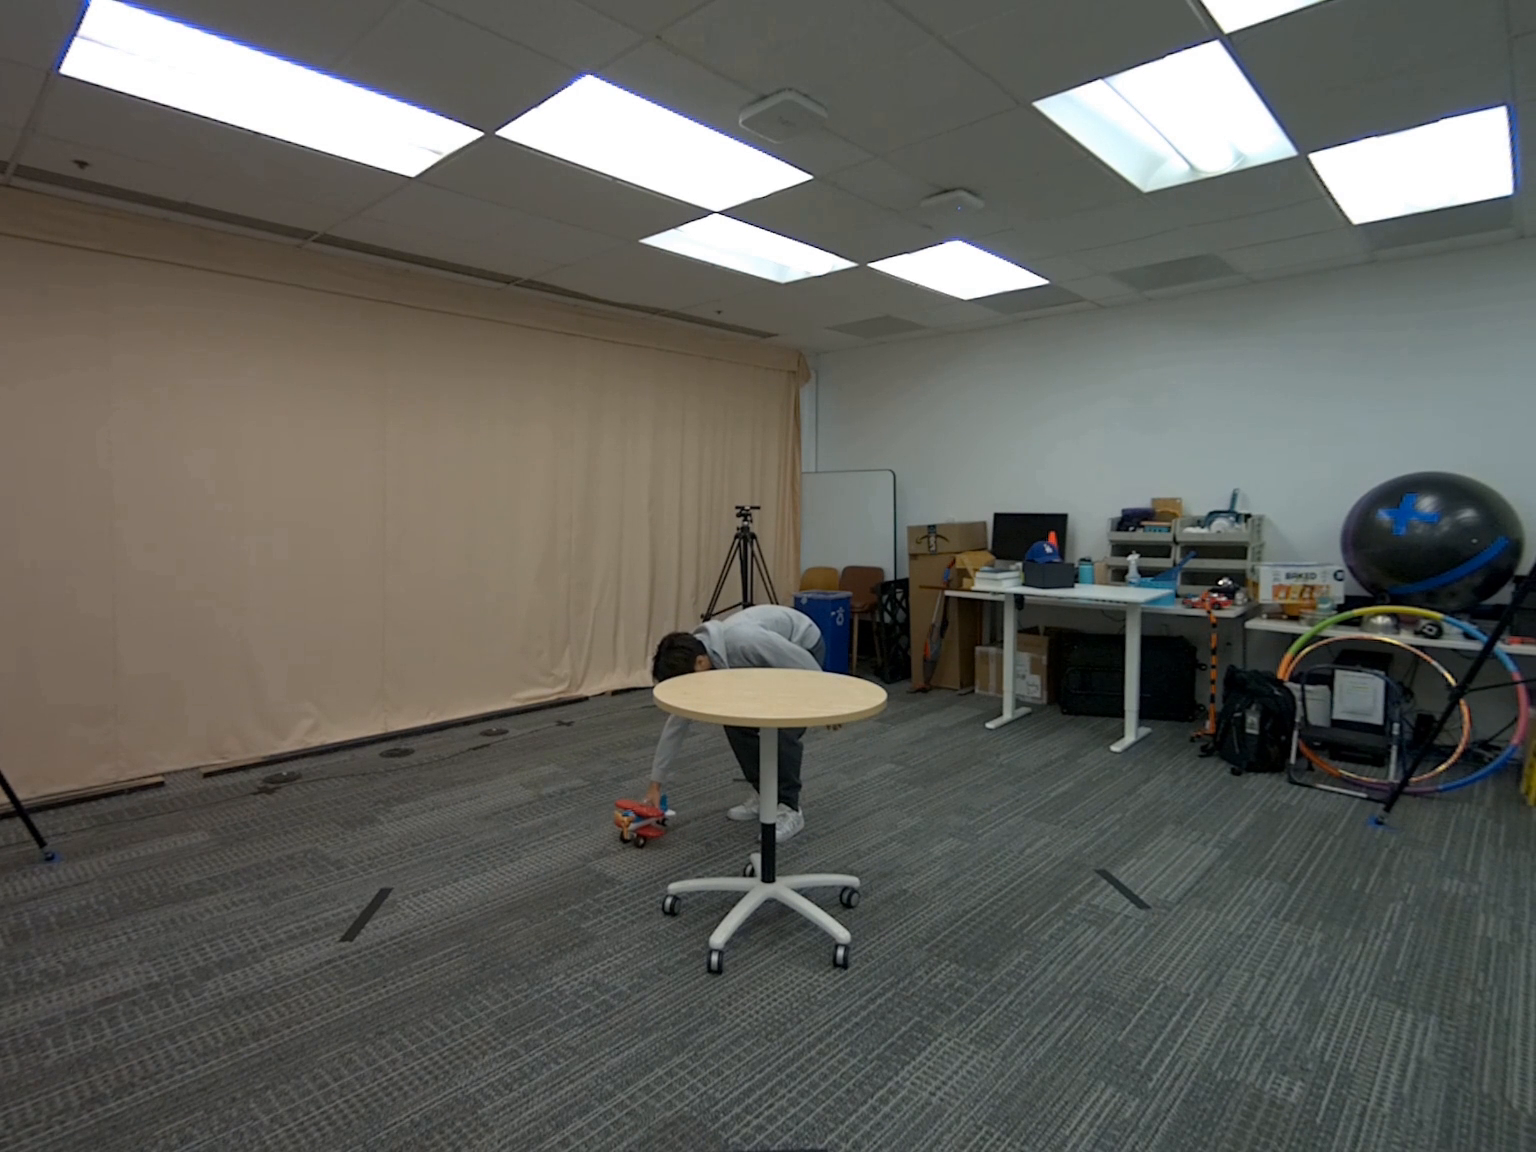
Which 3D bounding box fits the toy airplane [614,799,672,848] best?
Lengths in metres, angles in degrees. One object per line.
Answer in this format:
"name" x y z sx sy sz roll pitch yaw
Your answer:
"toy airplane" -0.528 1.016 3.537 0.254 0.155 0.258 -5 12 11
